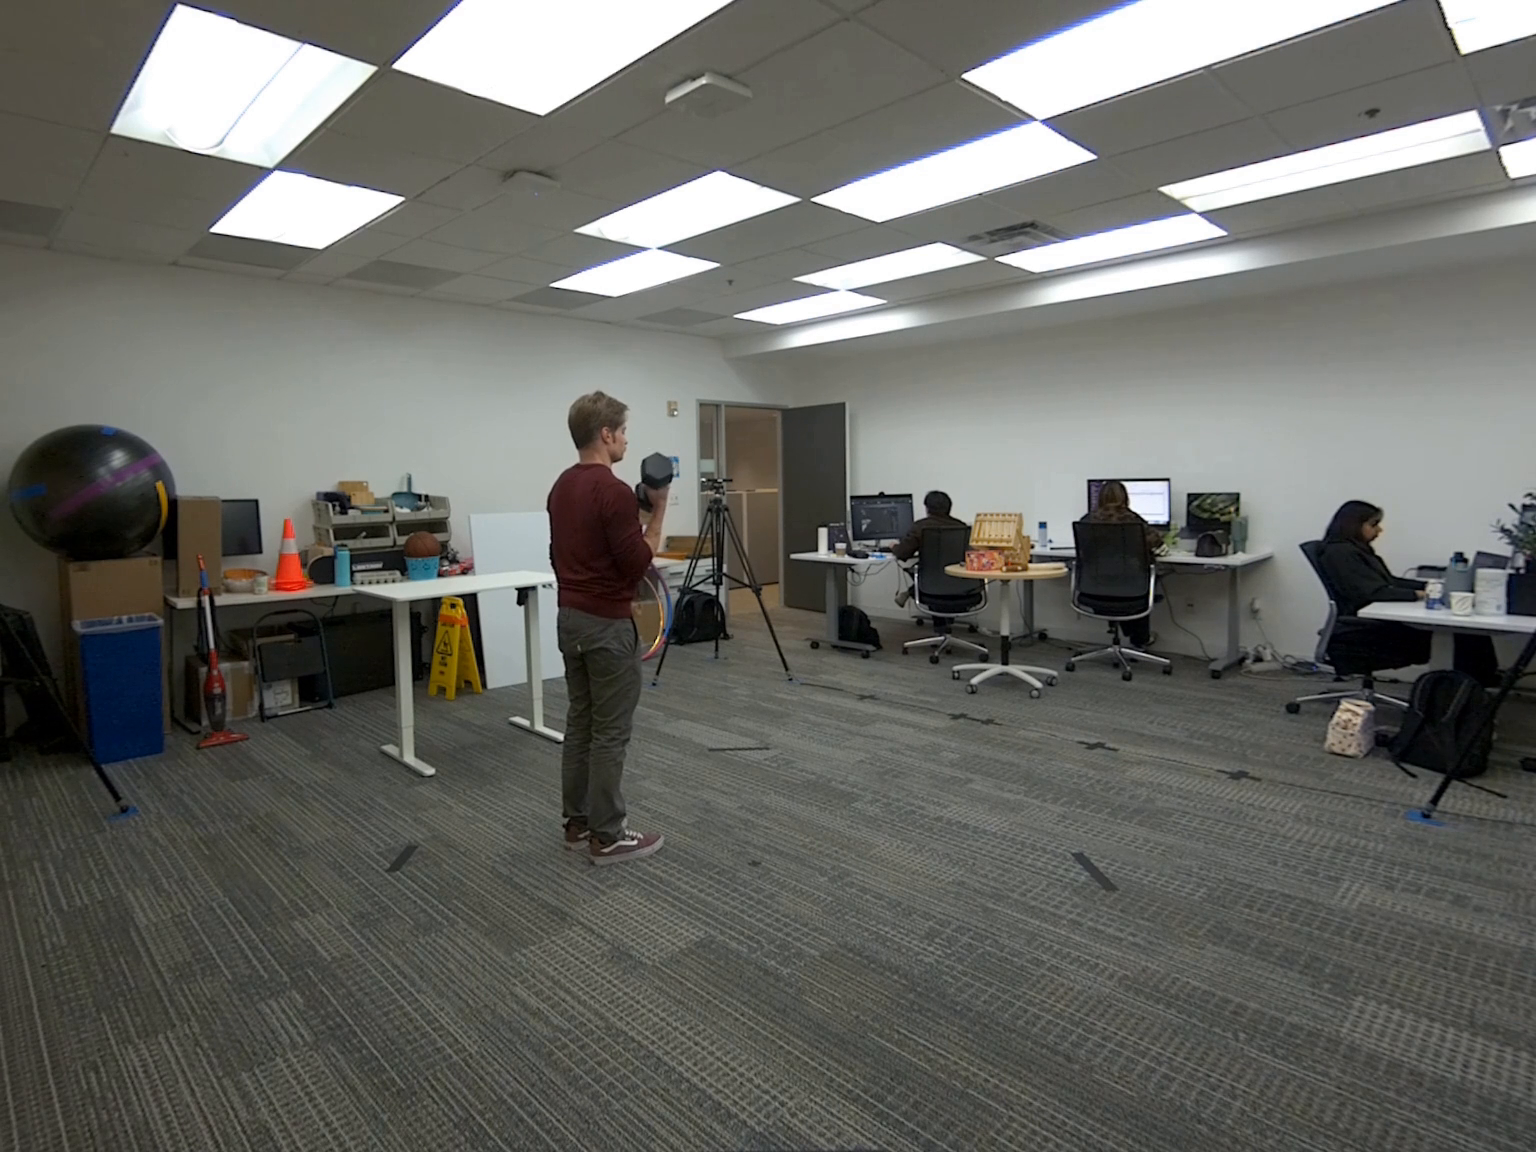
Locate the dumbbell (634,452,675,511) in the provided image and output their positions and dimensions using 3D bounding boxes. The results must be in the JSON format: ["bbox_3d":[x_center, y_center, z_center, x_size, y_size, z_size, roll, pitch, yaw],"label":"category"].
[{"bbox_3d":[-0.406,-0.331,3.099,0.107,0.125,0.291,0,-20,-13],"label":"dumbbell"}]
